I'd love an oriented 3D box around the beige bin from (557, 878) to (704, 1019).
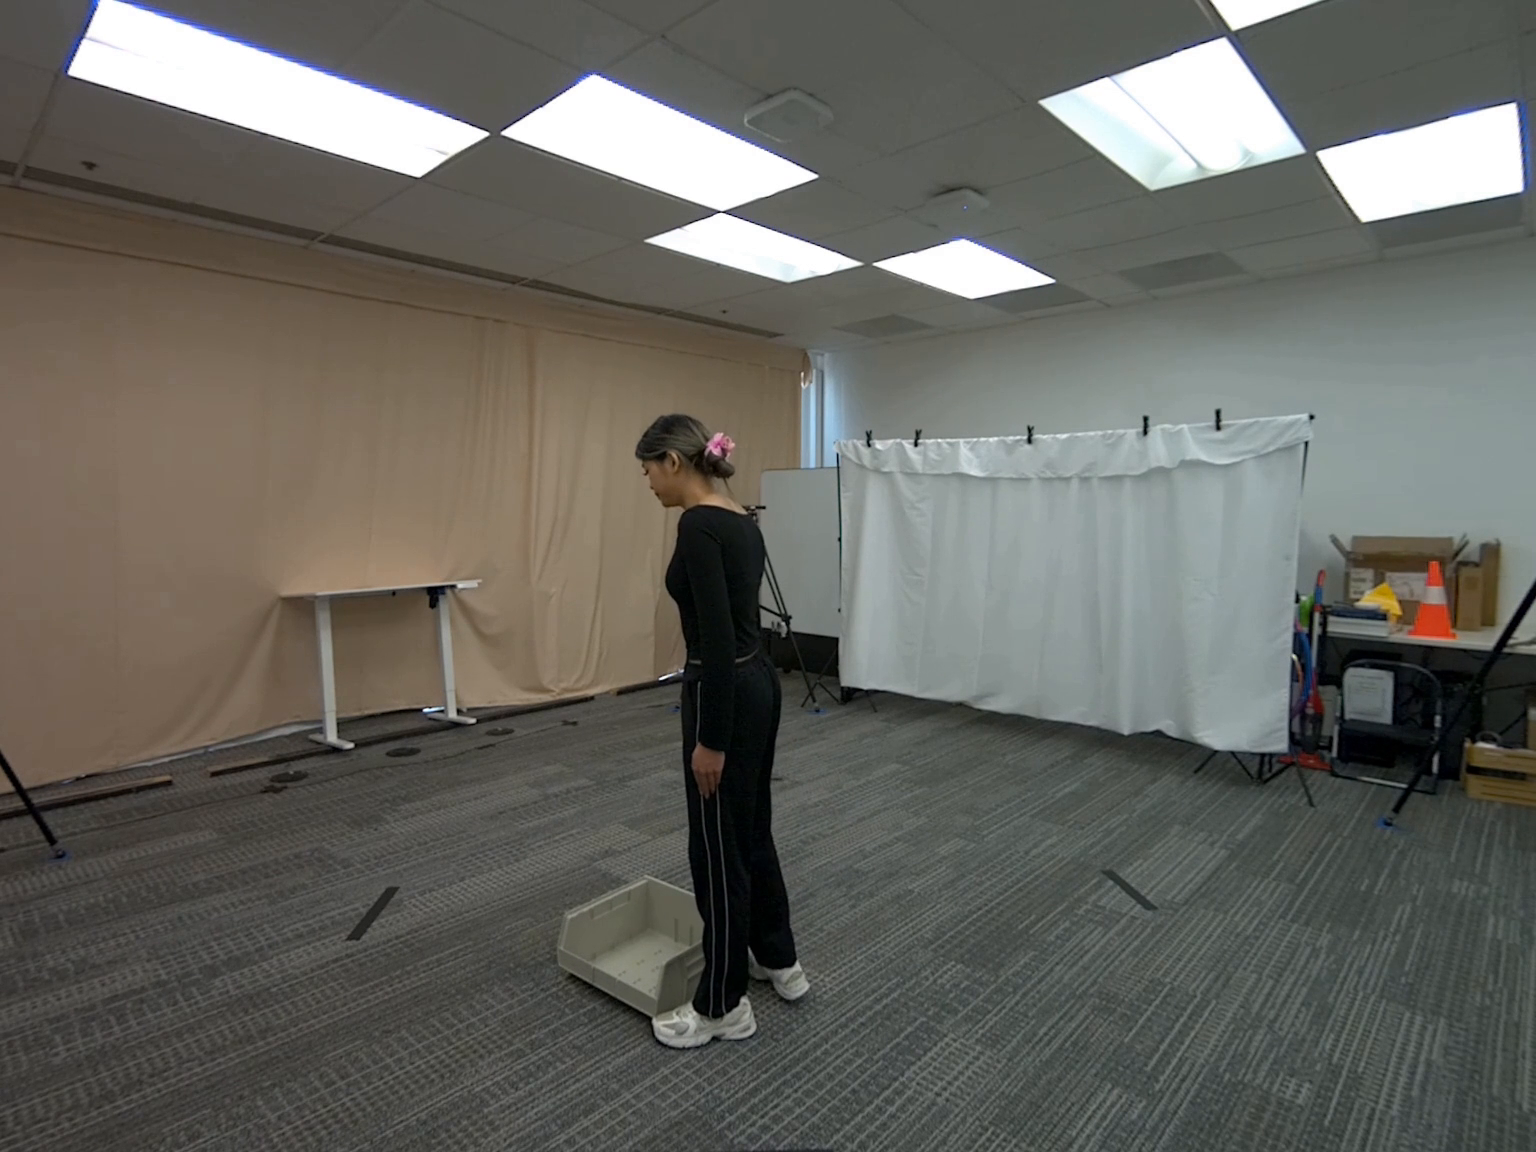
[{"bbox_3d":[-0.343,1.099,2.493,0.436,0.189,0.366,3,4,39],"label":"beige bin"}]
